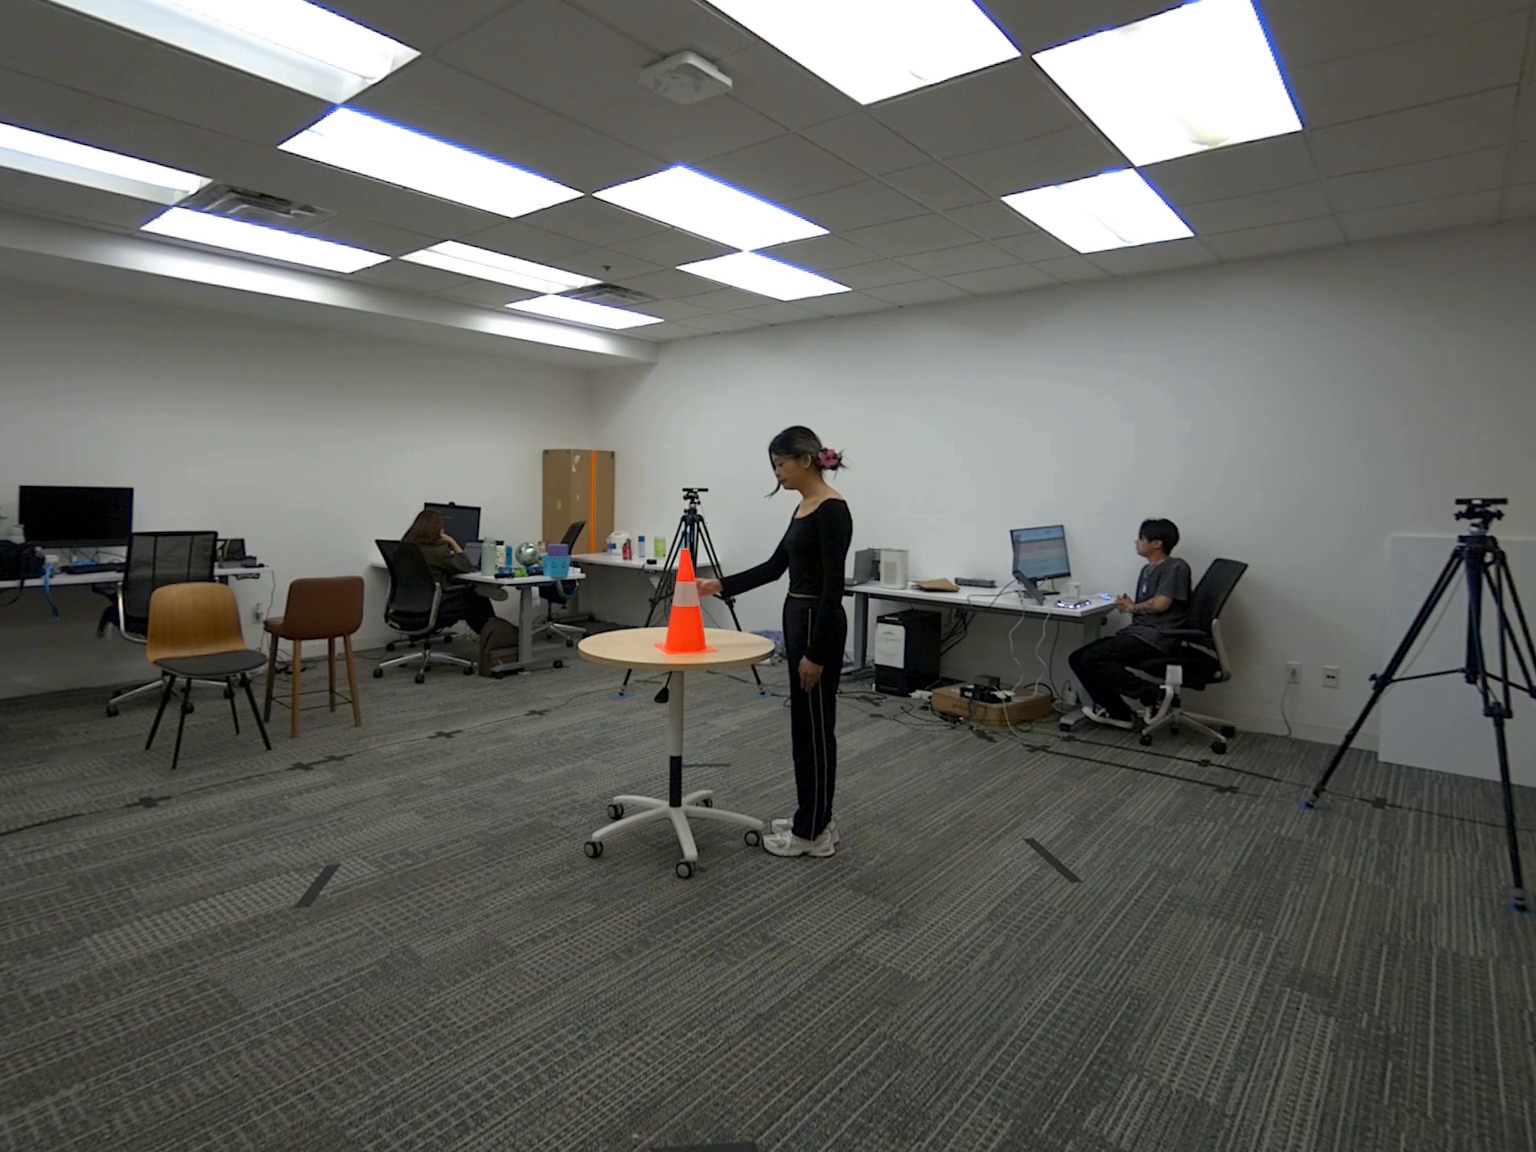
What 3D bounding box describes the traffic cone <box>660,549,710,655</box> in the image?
[{"bbox_3d":[-0.320,0.084,3.231,0.199,0.383,0.209,0,2,-21],"label":"traffic cone"}]
